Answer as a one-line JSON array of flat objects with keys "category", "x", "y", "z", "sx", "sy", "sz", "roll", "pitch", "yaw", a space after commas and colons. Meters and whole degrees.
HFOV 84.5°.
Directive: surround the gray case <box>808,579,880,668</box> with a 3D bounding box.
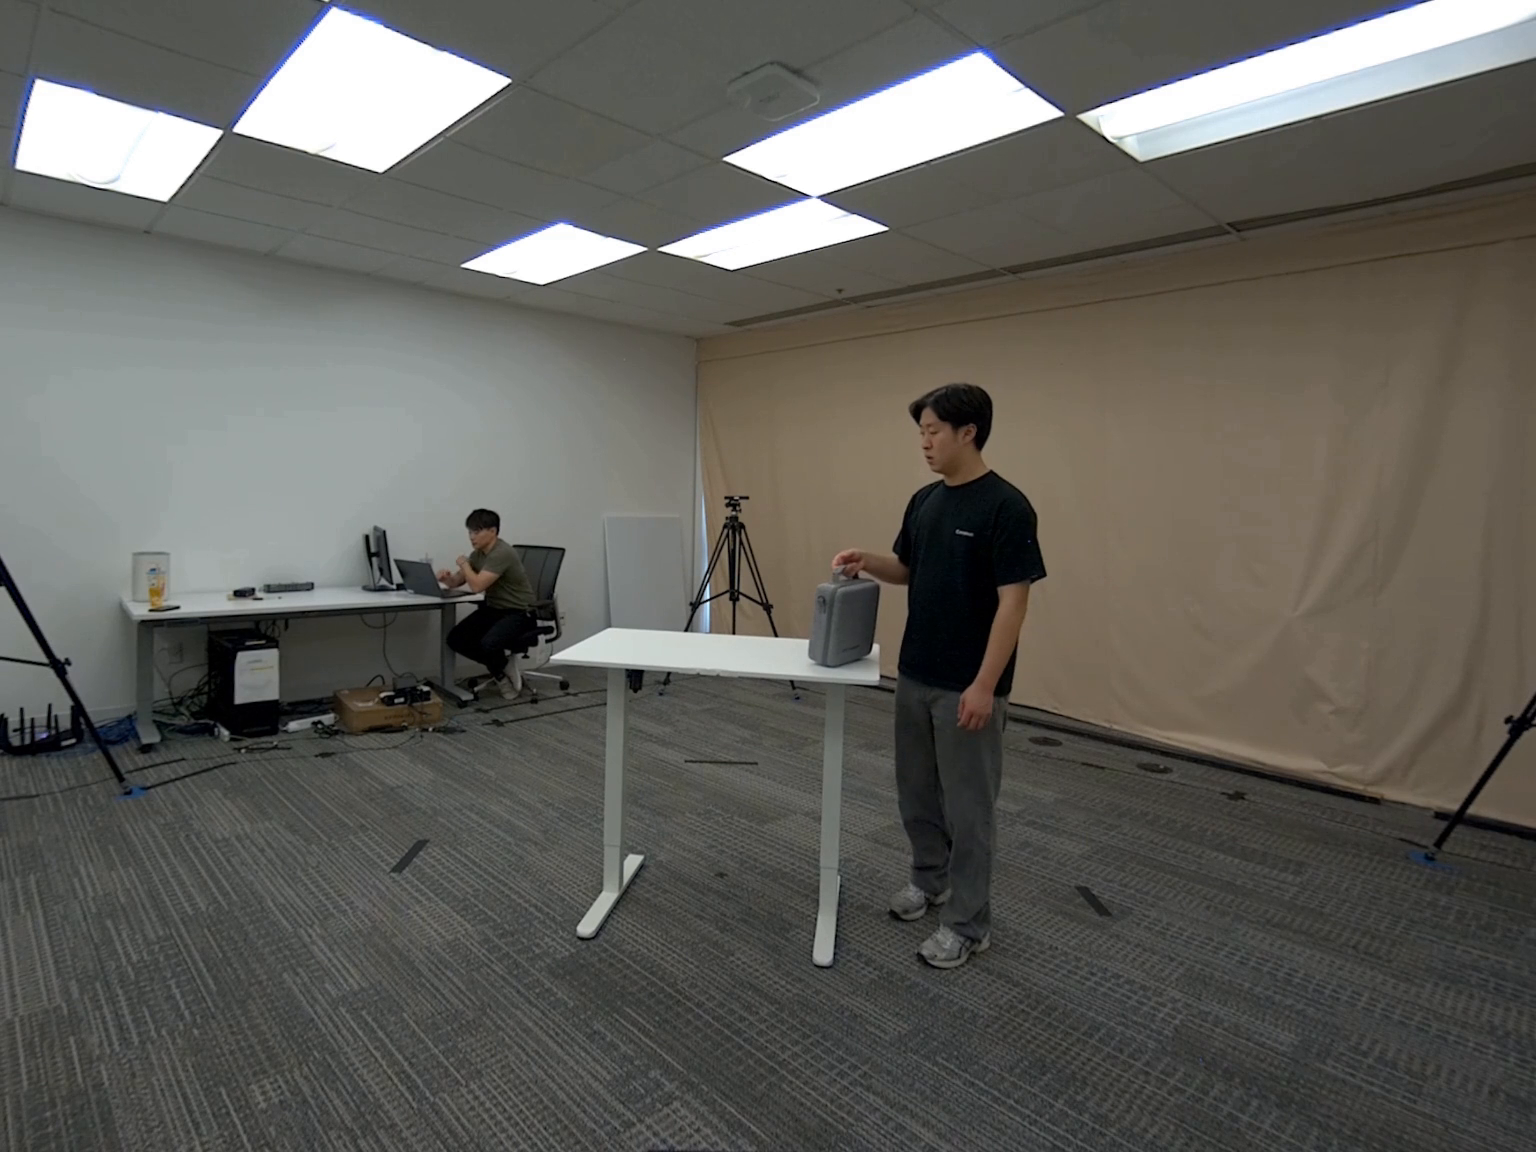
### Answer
[{"category": "gray case", "x": 0.232, "y": 0.130, "z": 2.656, "sx": 0.106, "sy": 0.285, "sz": 0.258, "roll": 11, "pitch": 11, "yaw": 37}]
